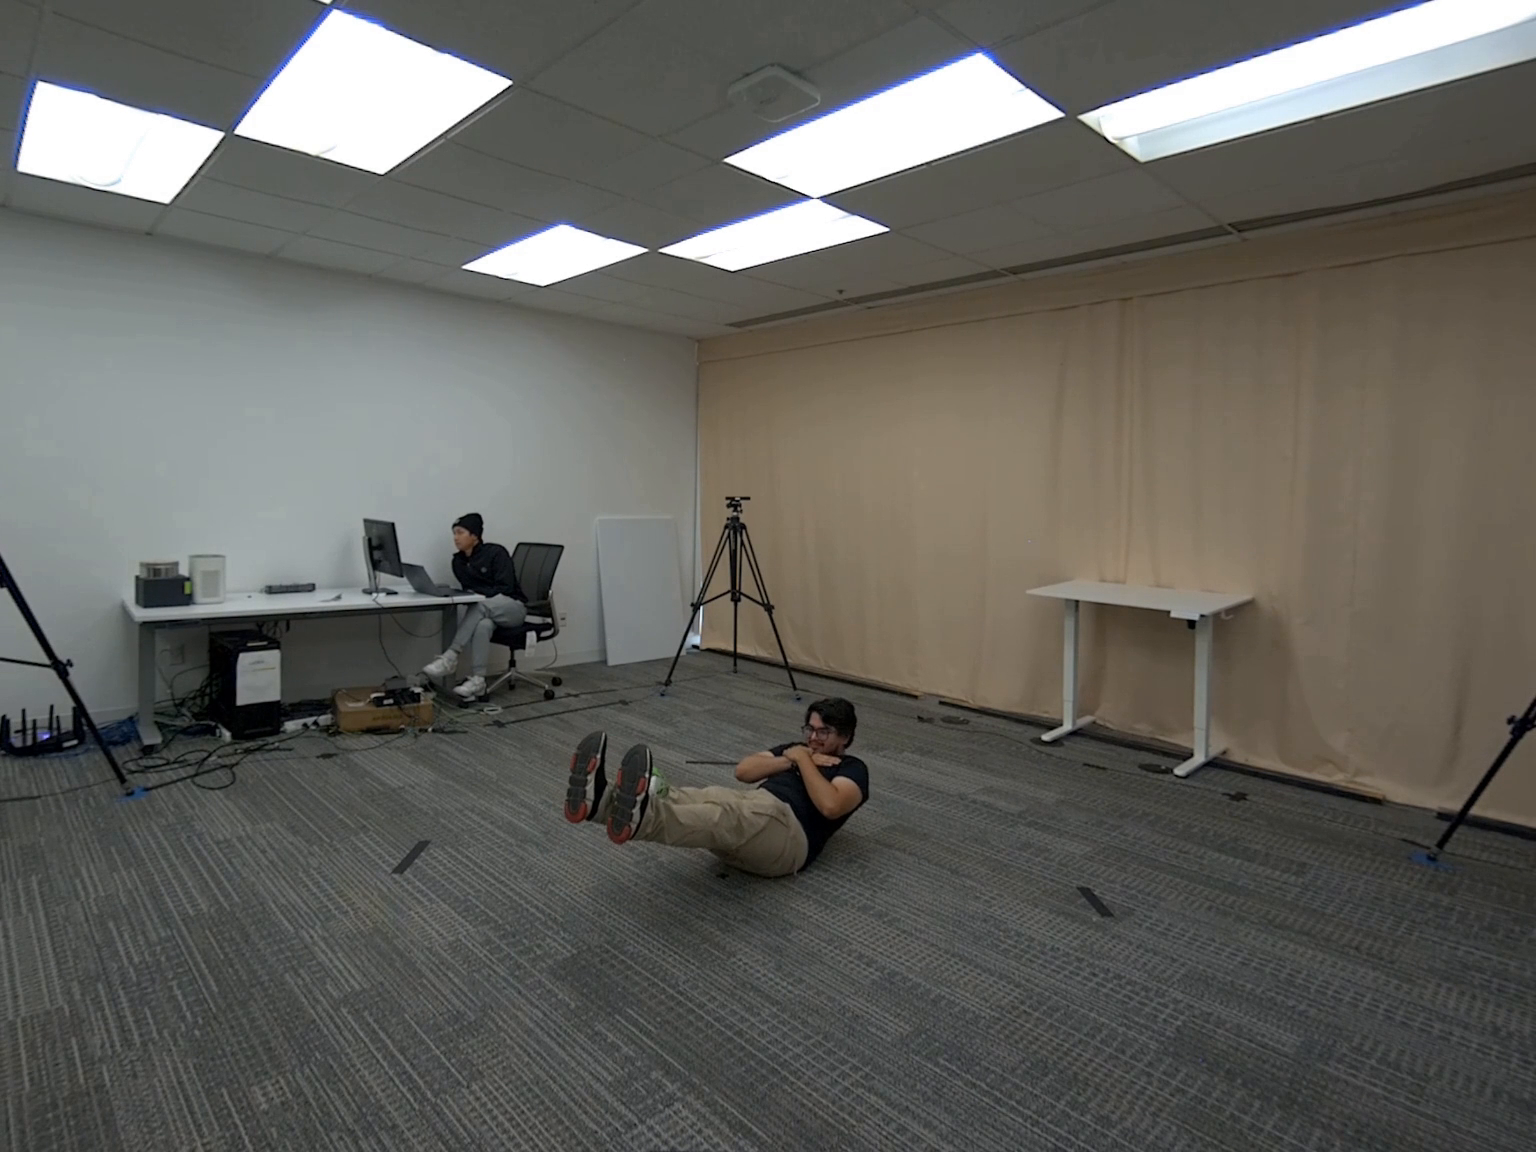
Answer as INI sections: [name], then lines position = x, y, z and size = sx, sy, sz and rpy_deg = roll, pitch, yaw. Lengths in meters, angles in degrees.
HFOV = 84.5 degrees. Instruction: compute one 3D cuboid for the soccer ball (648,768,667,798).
[soccer ball]
position = -0.425, 0.719, 2.743
size = 0.187, 0.187, 0.188
rpy_deg = 1, 5, -1
